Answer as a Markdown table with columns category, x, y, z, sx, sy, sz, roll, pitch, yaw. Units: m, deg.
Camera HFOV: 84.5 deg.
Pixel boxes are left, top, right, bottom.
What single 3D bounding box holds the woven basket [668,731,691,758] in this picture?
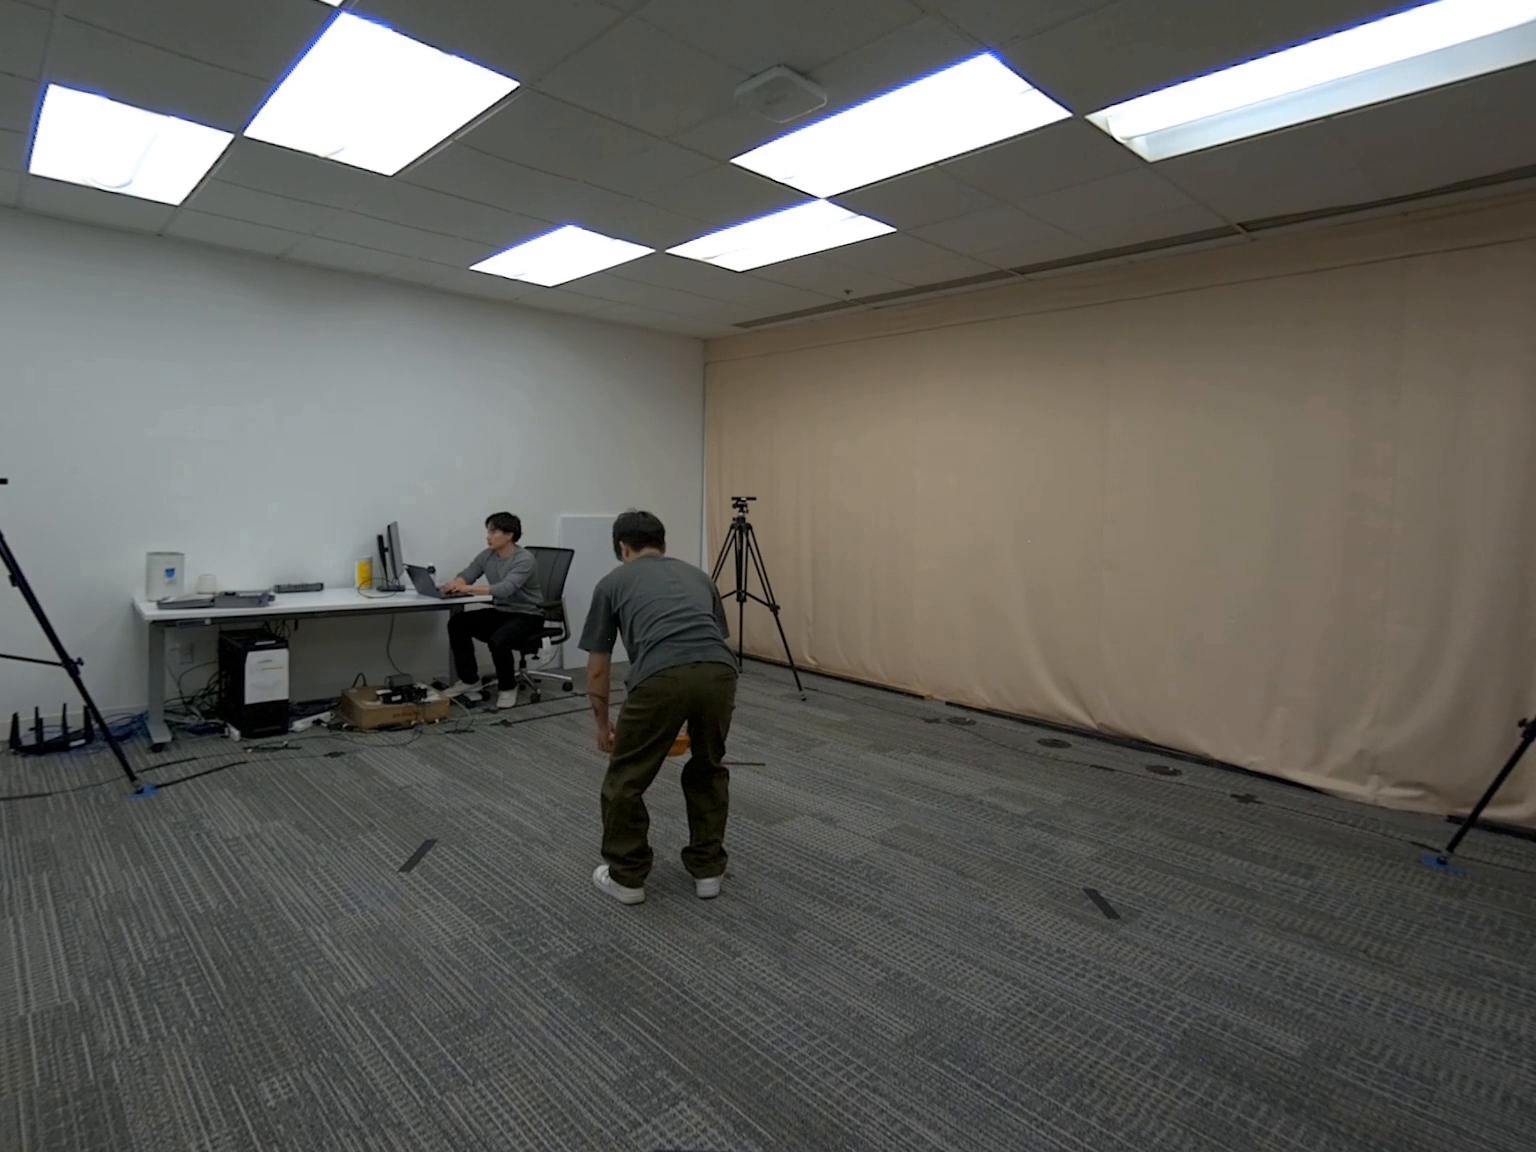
| category | x | y | z | sx | sy | sz | roll | pitch | yaw |
| --- | --- | --- | --- | --- | --- | --- | --- | --- | --- |
| woven basket | -0.470 | 0.663 | 3.270 | 0.344 | 0.074 | 0.255 | 2 | -5 | -22 |
